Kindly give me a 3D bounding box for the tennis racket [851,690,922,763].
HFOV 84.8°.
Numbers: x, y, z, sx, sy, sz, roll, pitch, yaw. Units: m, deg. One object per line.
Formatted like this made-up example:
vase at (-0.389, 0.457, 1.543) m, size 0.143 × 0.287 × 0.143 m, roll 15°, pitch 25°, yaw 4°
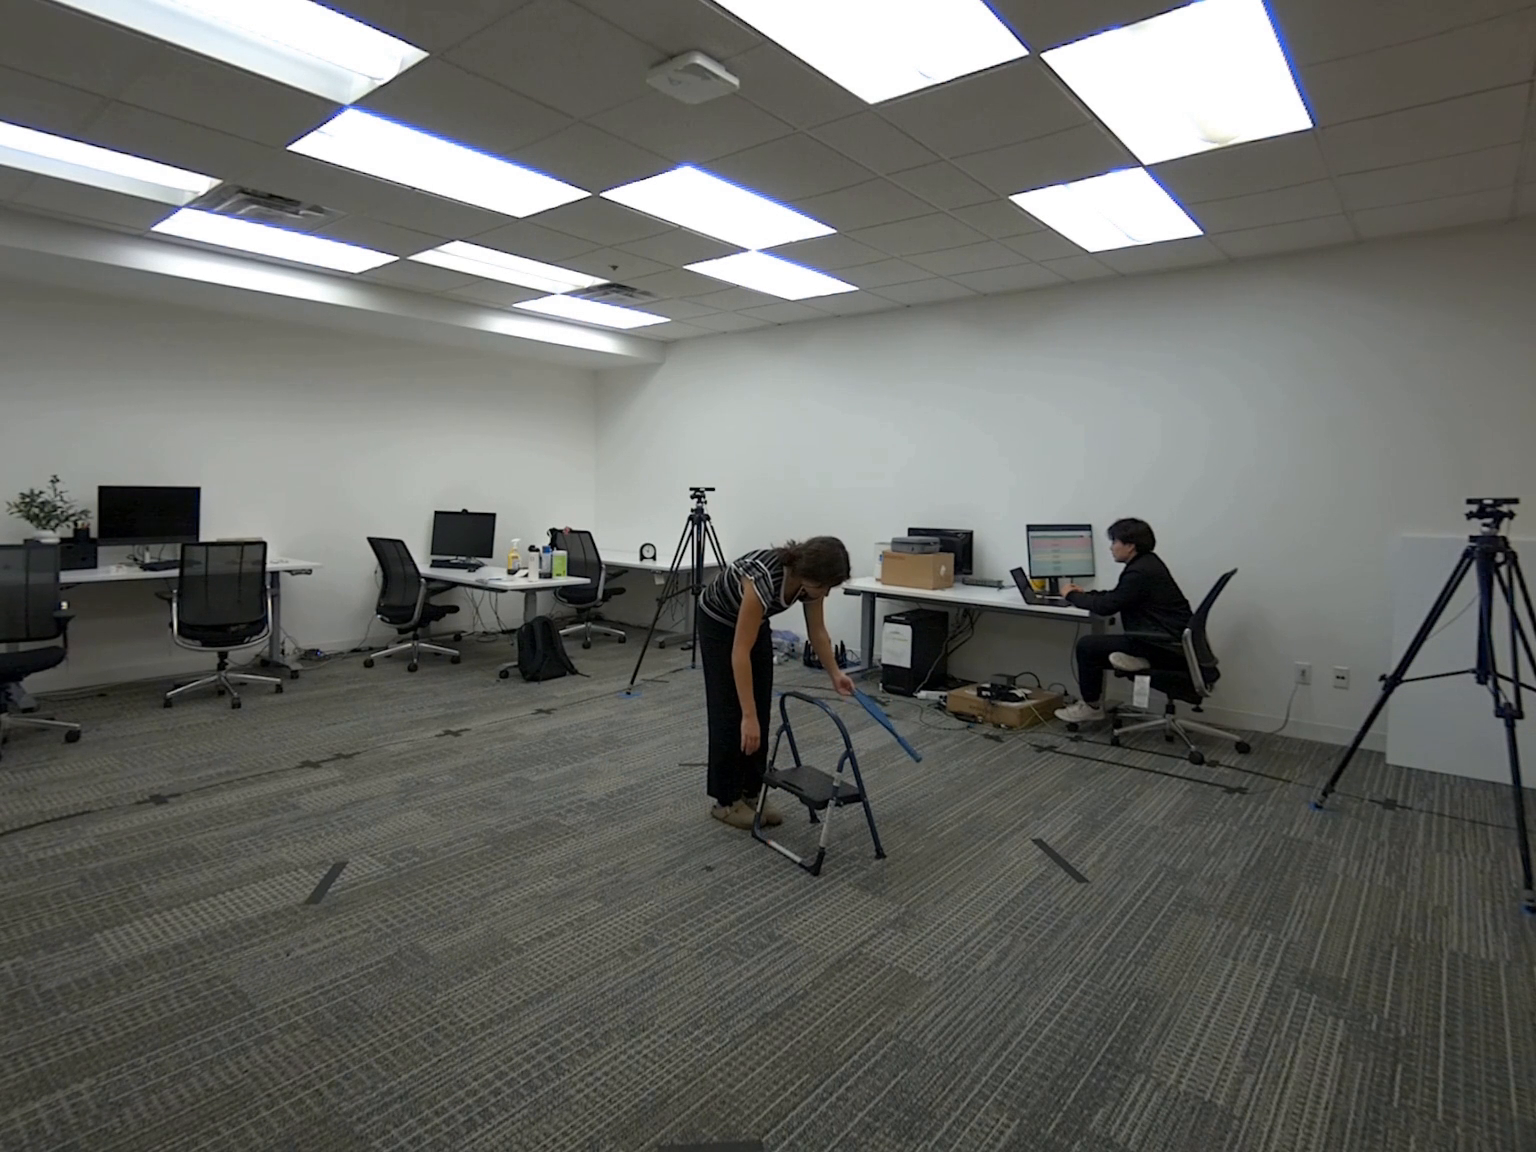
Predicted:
tennis racket at (0.480, 0.629, 3.613) m, size 0.205 × 0.032 × 0.451 m, roll 32°, pitch 17°, yaw -51°
